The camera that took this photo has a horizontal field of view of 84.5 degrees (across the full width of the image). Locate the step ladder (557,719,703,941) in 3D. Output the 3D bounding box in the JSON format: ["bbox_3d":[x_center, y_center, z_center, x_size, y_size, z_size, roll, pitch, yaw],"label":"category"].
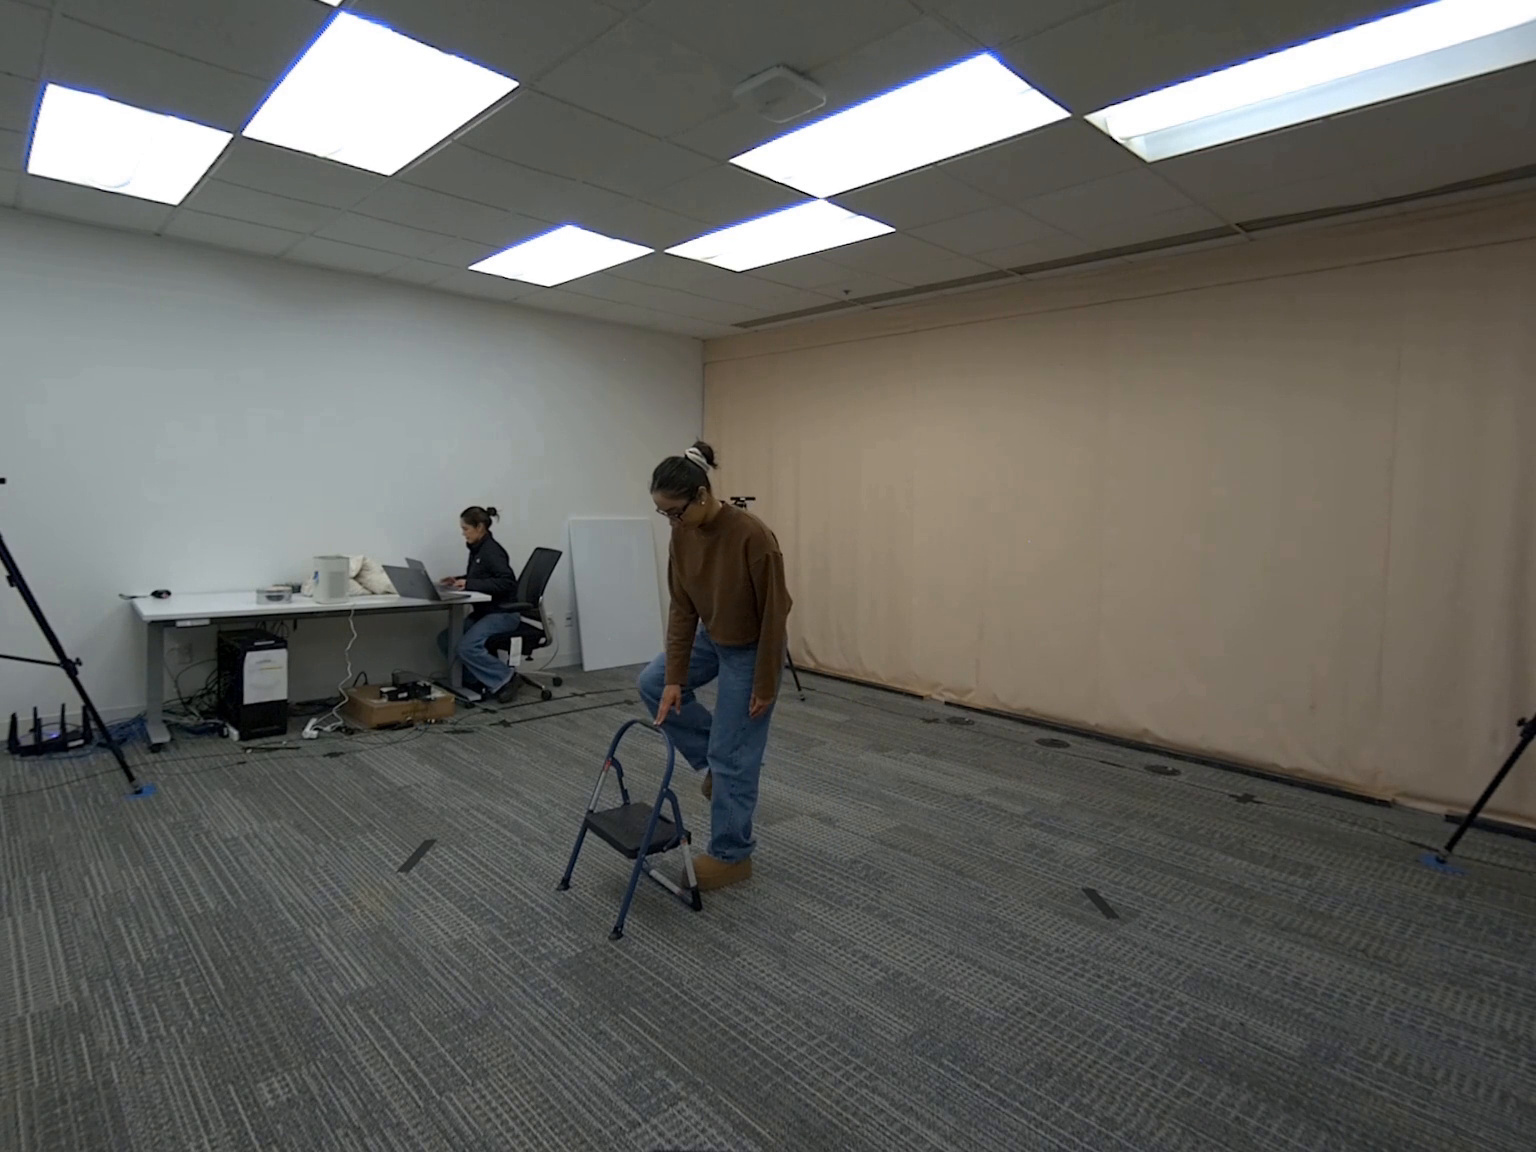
[{"bbox_3d":[-0.476,0.815,2.884,0.341,0.604,0.441,-1,4,-37],"label":"step ladder"}]
